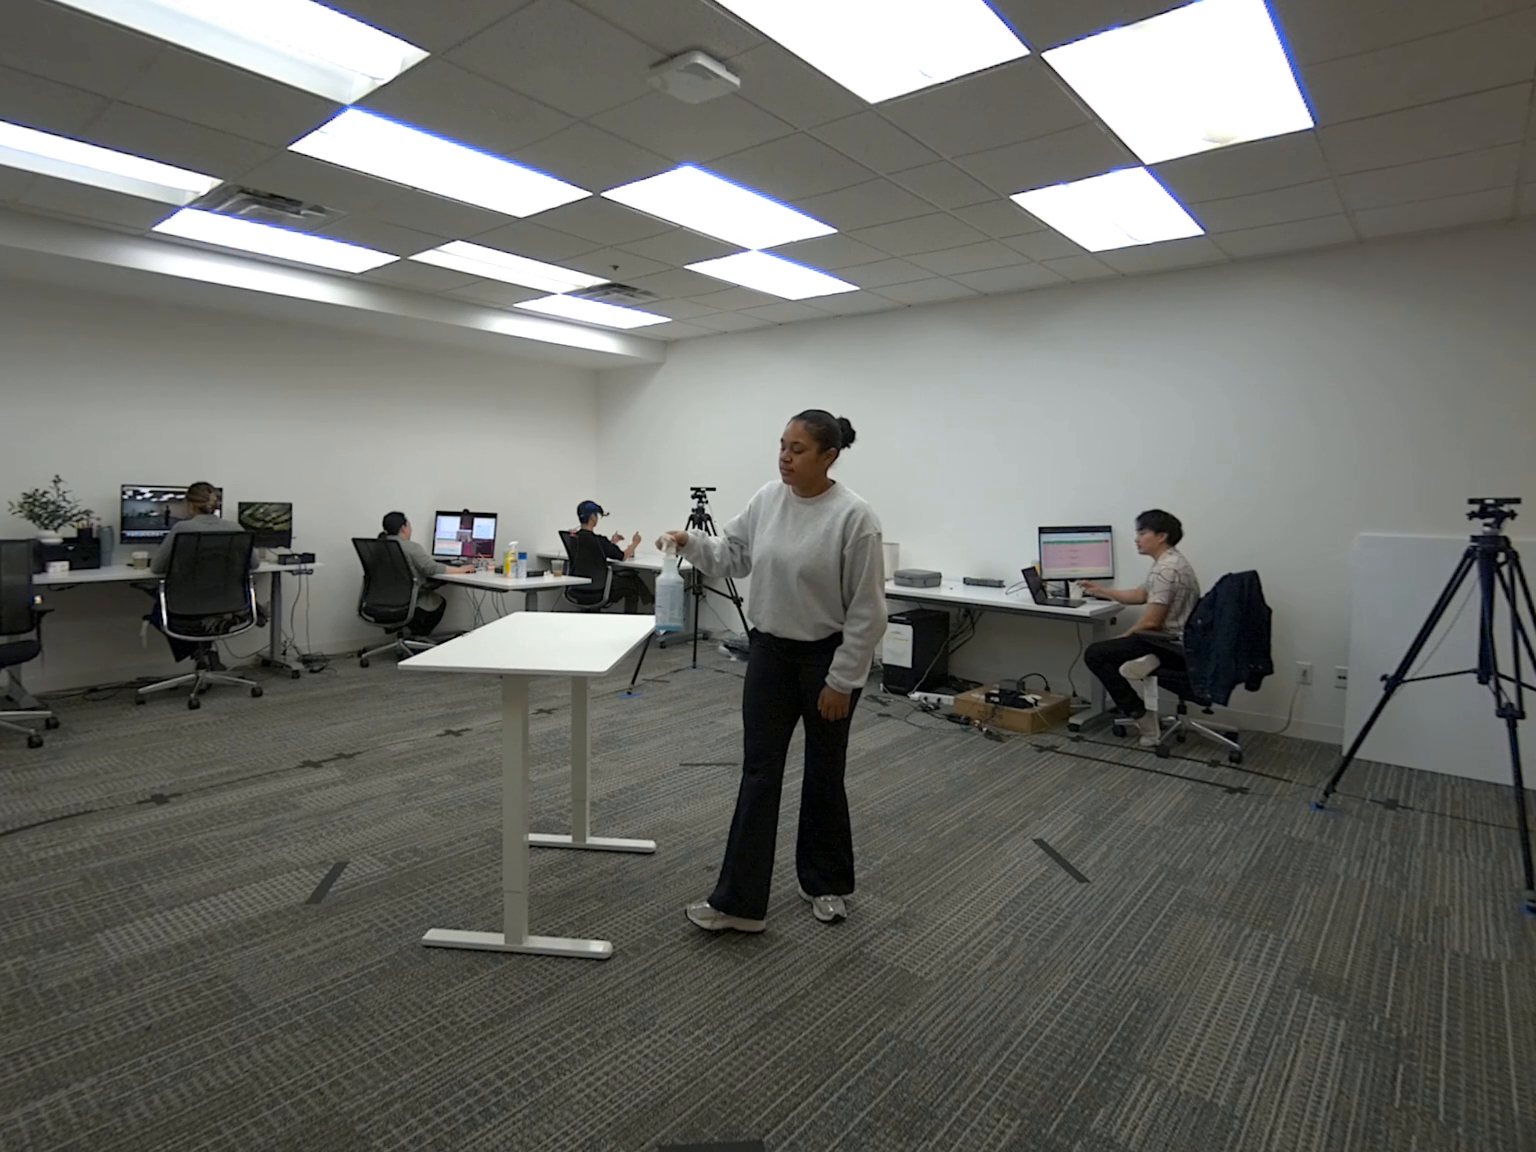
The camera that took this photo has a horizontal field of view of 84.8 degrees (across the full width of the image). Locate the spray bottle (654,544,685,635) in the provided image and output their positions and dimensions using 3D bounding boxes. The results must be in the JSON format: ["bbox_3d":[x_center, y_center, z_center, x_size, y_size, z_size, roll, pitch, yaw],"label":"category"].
[{"bbox_3d":[-0.314,0.047,2.652,0.087,0.298,0.090,6,-5,-44],"label":"spray bottle"}]
